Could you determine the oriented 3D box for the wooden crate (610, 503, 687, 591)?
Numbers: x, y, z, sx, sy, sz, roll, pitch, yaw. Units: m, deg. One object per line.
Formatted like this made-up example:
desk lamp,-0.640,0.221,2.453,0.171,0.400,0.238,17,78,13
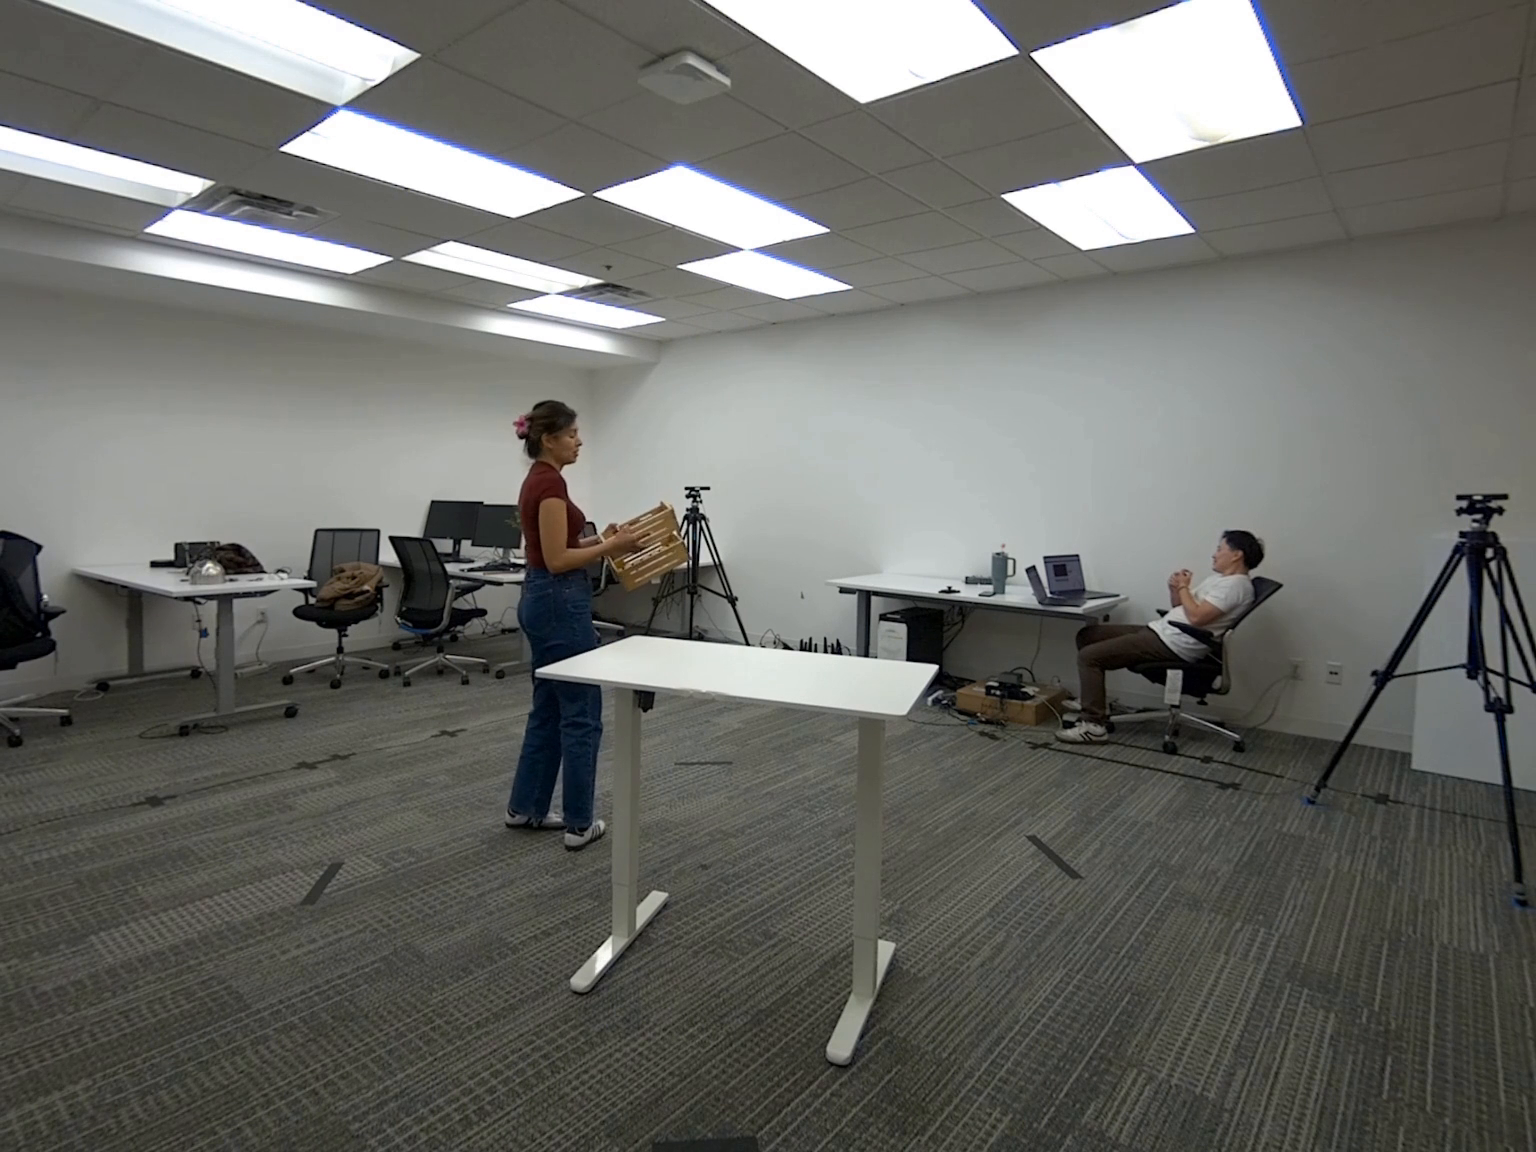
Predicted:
wooden crate,-0.546,-0.148,3.520,0.322,0.265,0.313,-27,27,-11
